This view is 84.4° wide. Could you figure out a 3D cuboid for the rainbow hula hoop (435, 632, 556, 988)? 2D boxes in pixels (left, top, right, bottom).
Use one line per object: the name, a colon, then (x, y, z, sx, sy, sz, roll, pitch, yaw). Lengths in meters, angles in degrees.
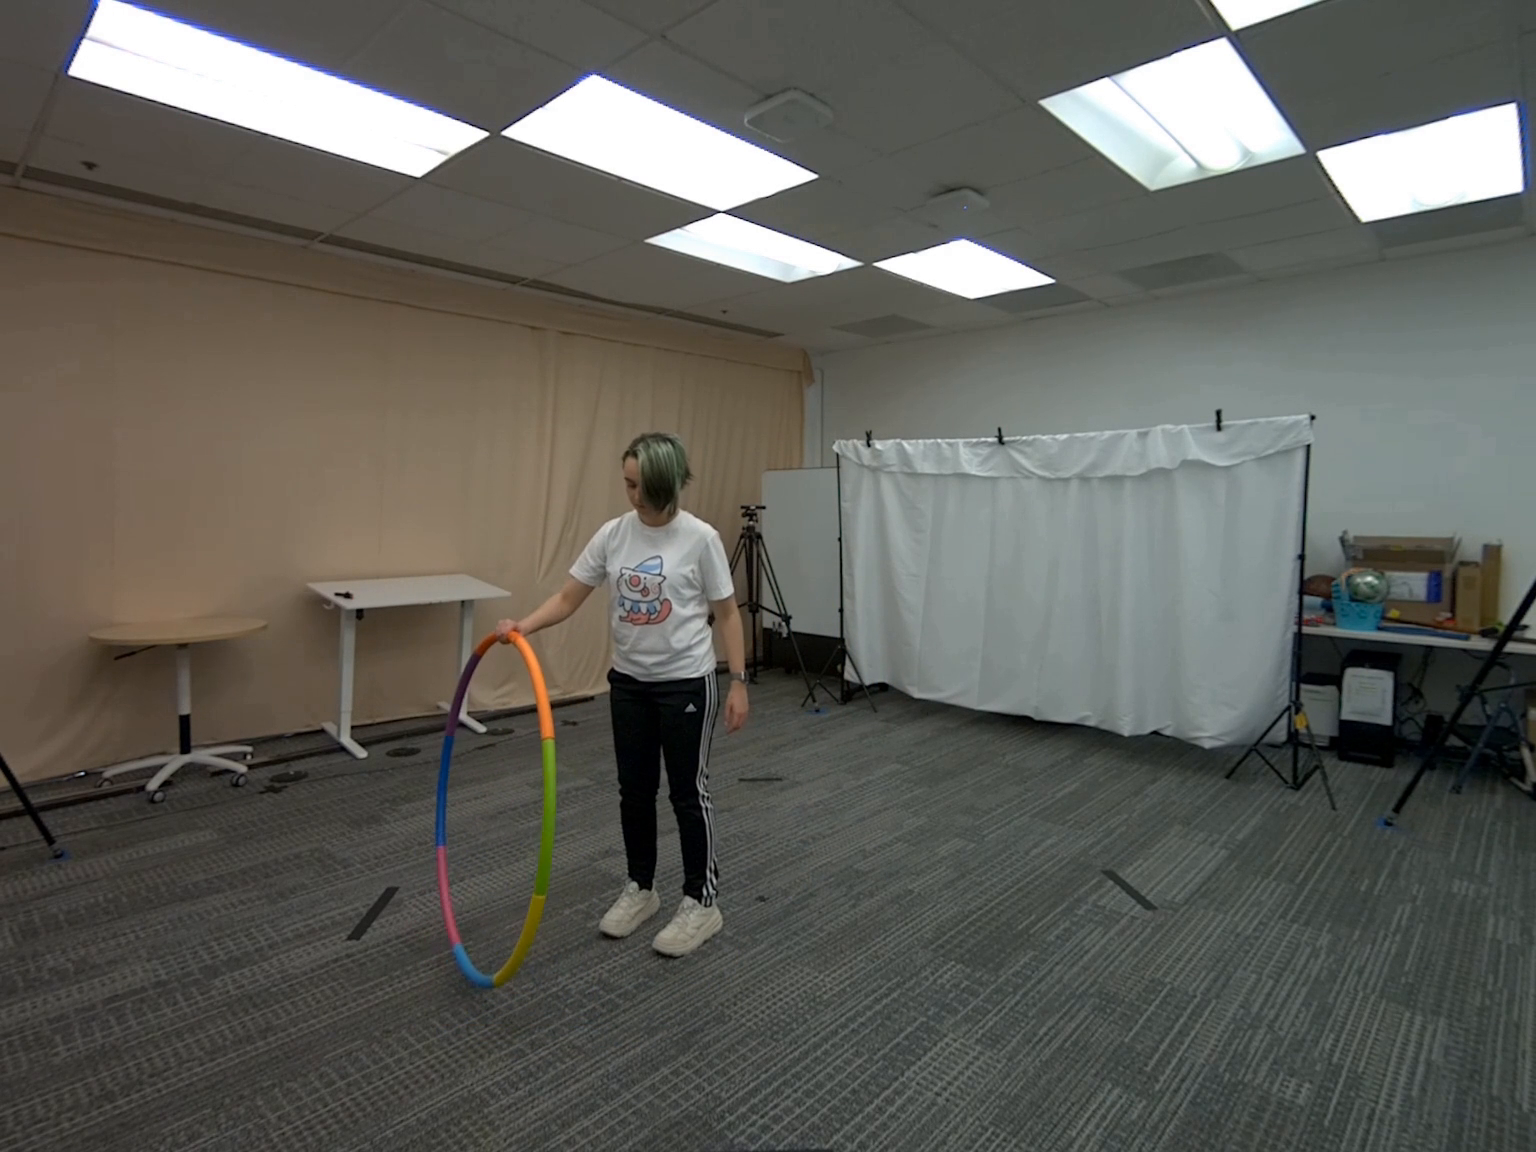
rainbow hula hoop: (-0.811, 0.662, 2.469, 0.034, 0.979, 1.009, 10, -3, -35)
